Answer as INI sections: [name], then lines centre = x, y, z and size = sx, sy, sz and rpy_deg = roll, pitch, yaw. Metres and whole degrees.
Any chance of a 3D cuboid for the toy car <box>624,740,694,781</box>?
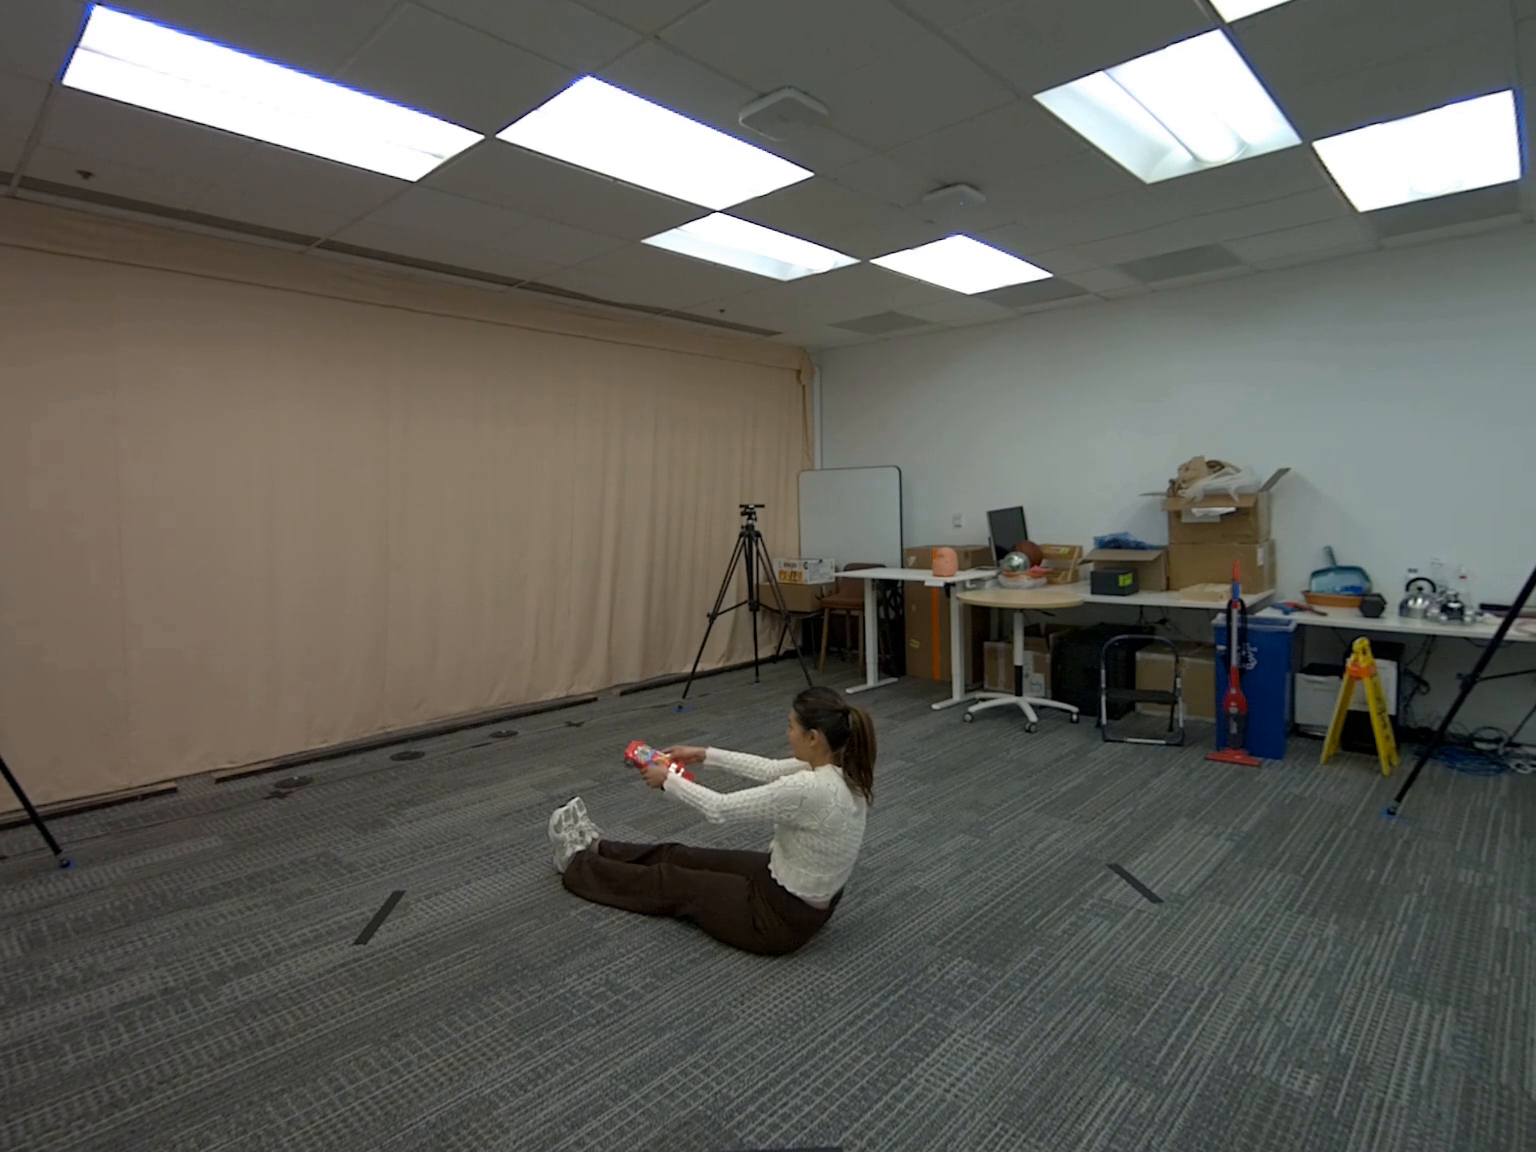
[toy car]
centre = -0.363, 0.673, 2.926
size = 0.257, 0.083, 0.129
rpy_deg = 21, 19, 9
